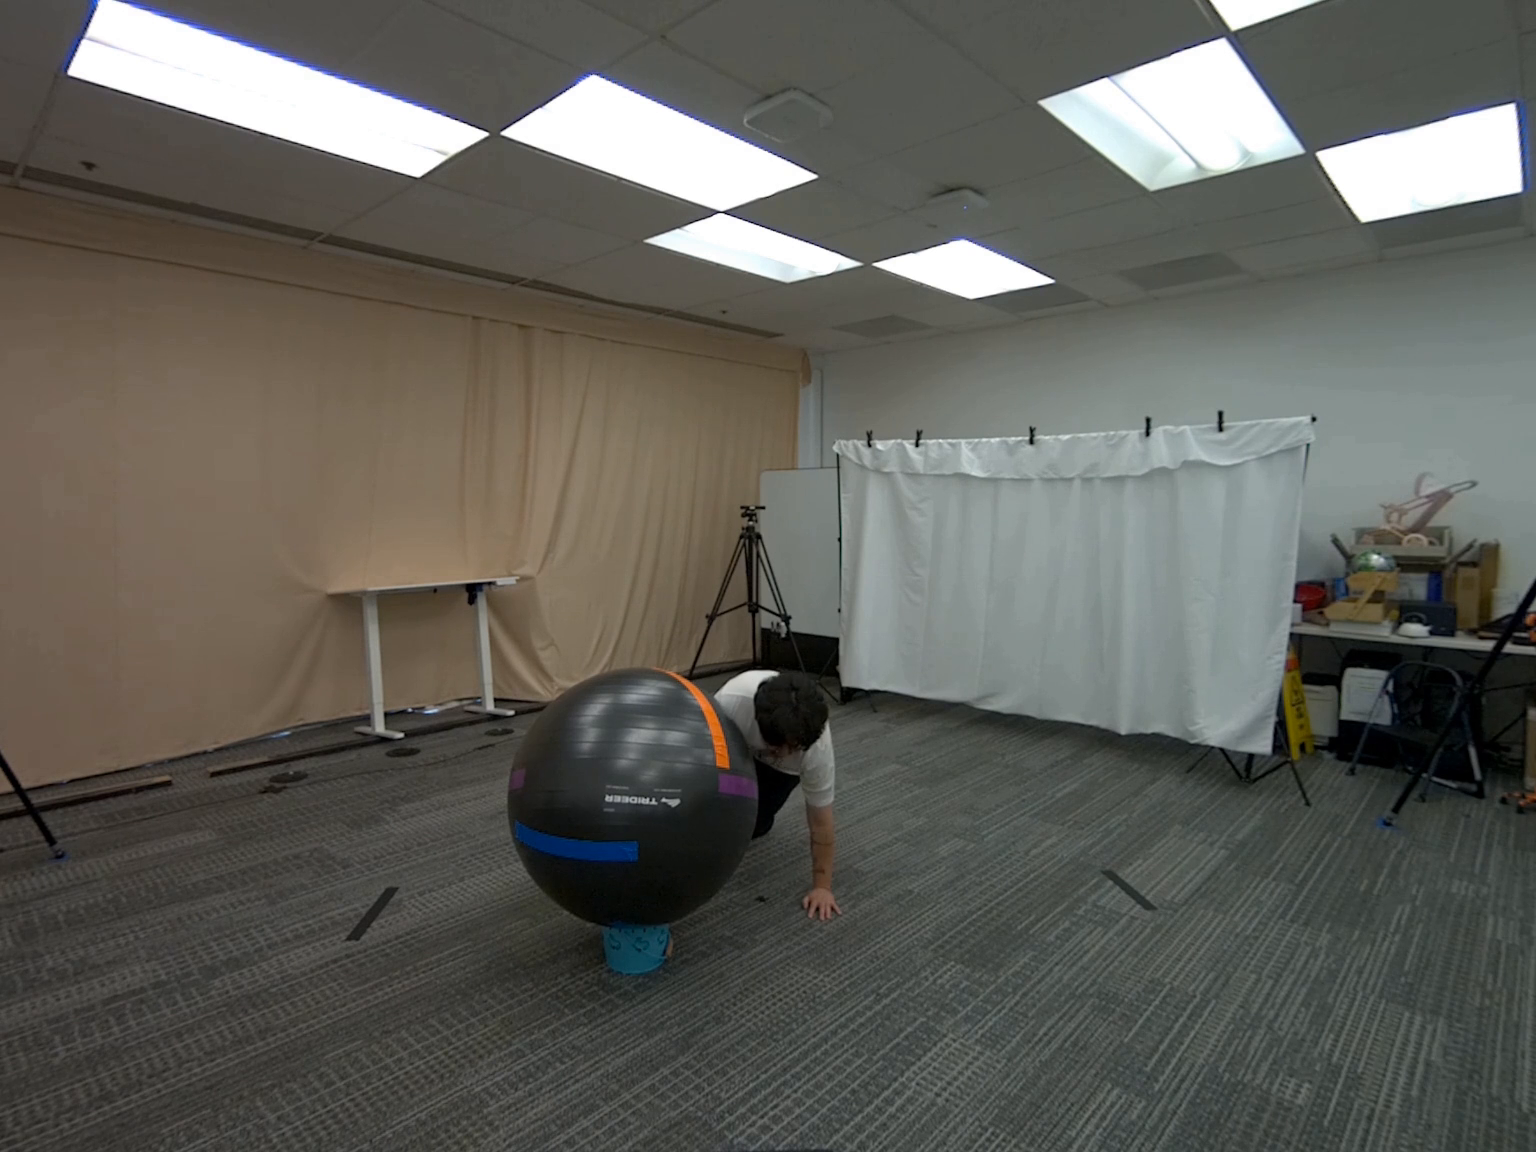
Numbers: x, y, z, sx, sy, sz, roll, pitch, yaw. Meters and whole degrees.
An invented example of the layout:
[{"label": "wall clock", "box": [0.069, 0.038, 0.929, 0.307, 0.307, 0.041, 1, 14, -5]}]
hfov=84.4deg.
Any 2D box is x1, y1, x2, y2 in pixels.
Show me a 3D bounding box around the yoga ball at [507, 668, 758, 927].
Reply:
[{"label": "yoga ball", "box": [-0.424, 0.669, 2.570, 0.757, 0.756, 0.761, 0, 4, -2]}]
